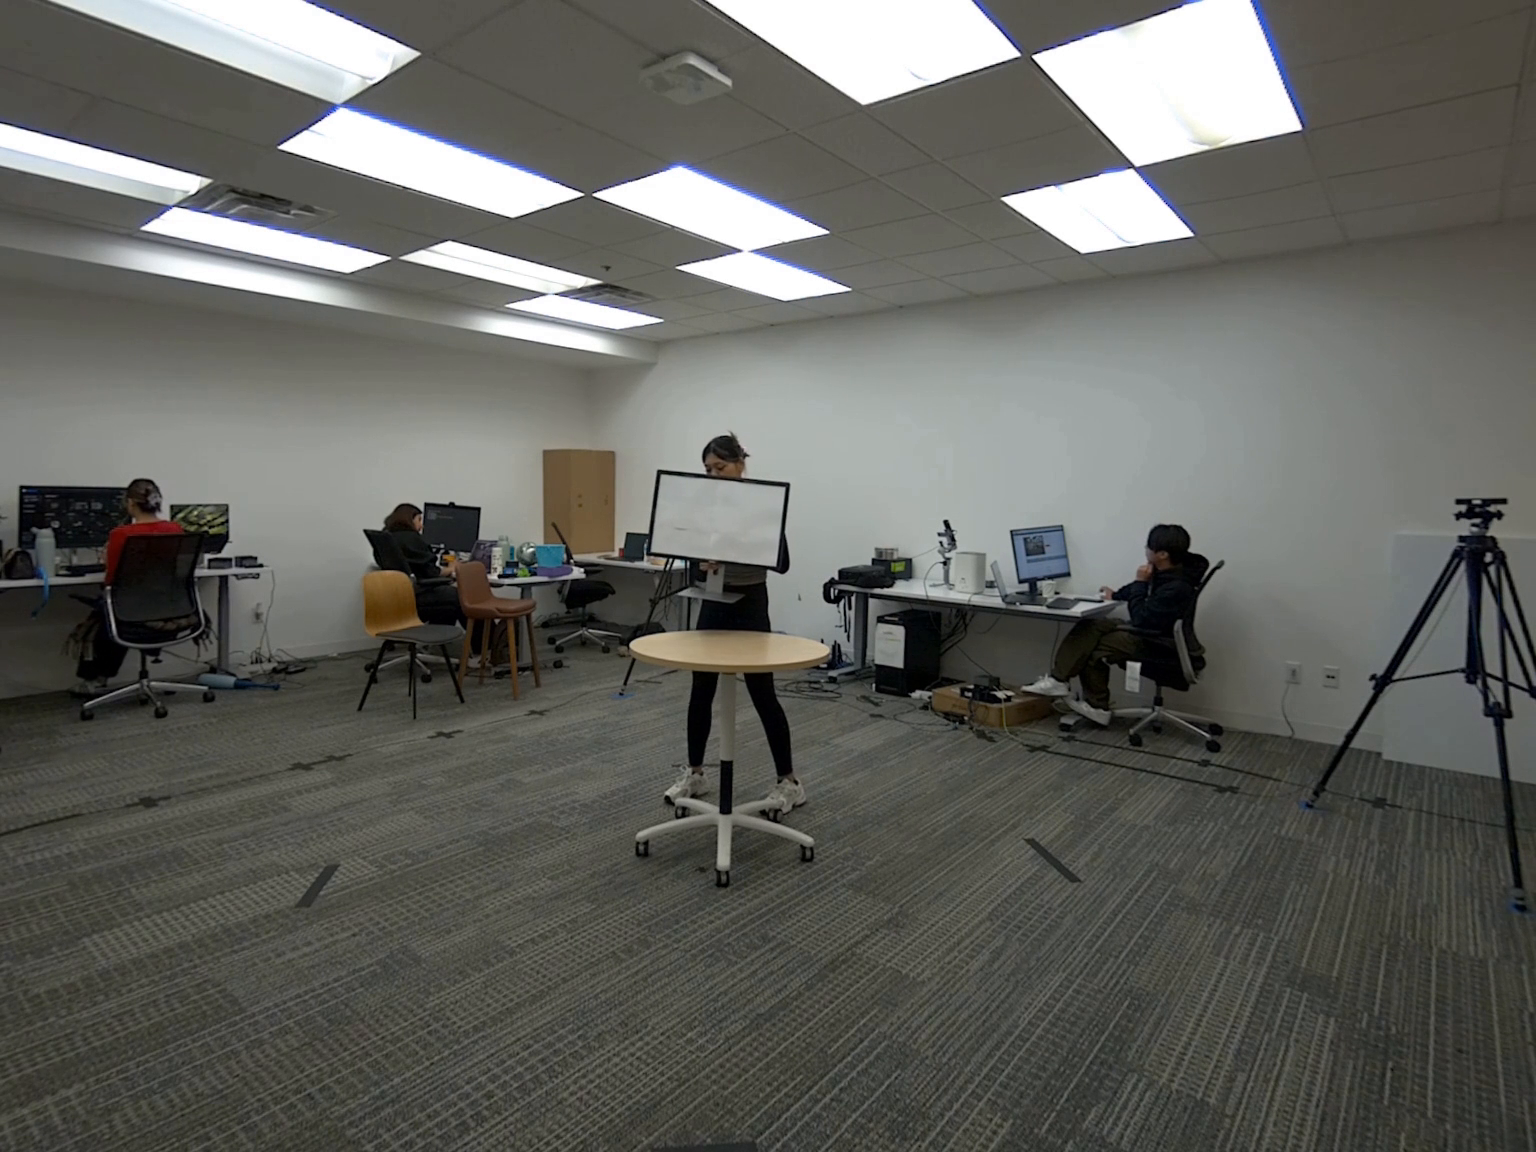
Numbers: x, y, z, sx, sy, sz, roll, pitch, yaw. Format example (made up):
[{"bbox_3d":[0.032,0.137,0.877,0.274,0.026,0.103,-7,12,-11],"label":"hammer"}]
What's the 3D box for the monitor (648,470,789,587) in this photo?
[{"bbox_3d":[-0.220,-0.165,3.539,0.544,0.519,0.187,7,8,7],"label":"monitor"}]
